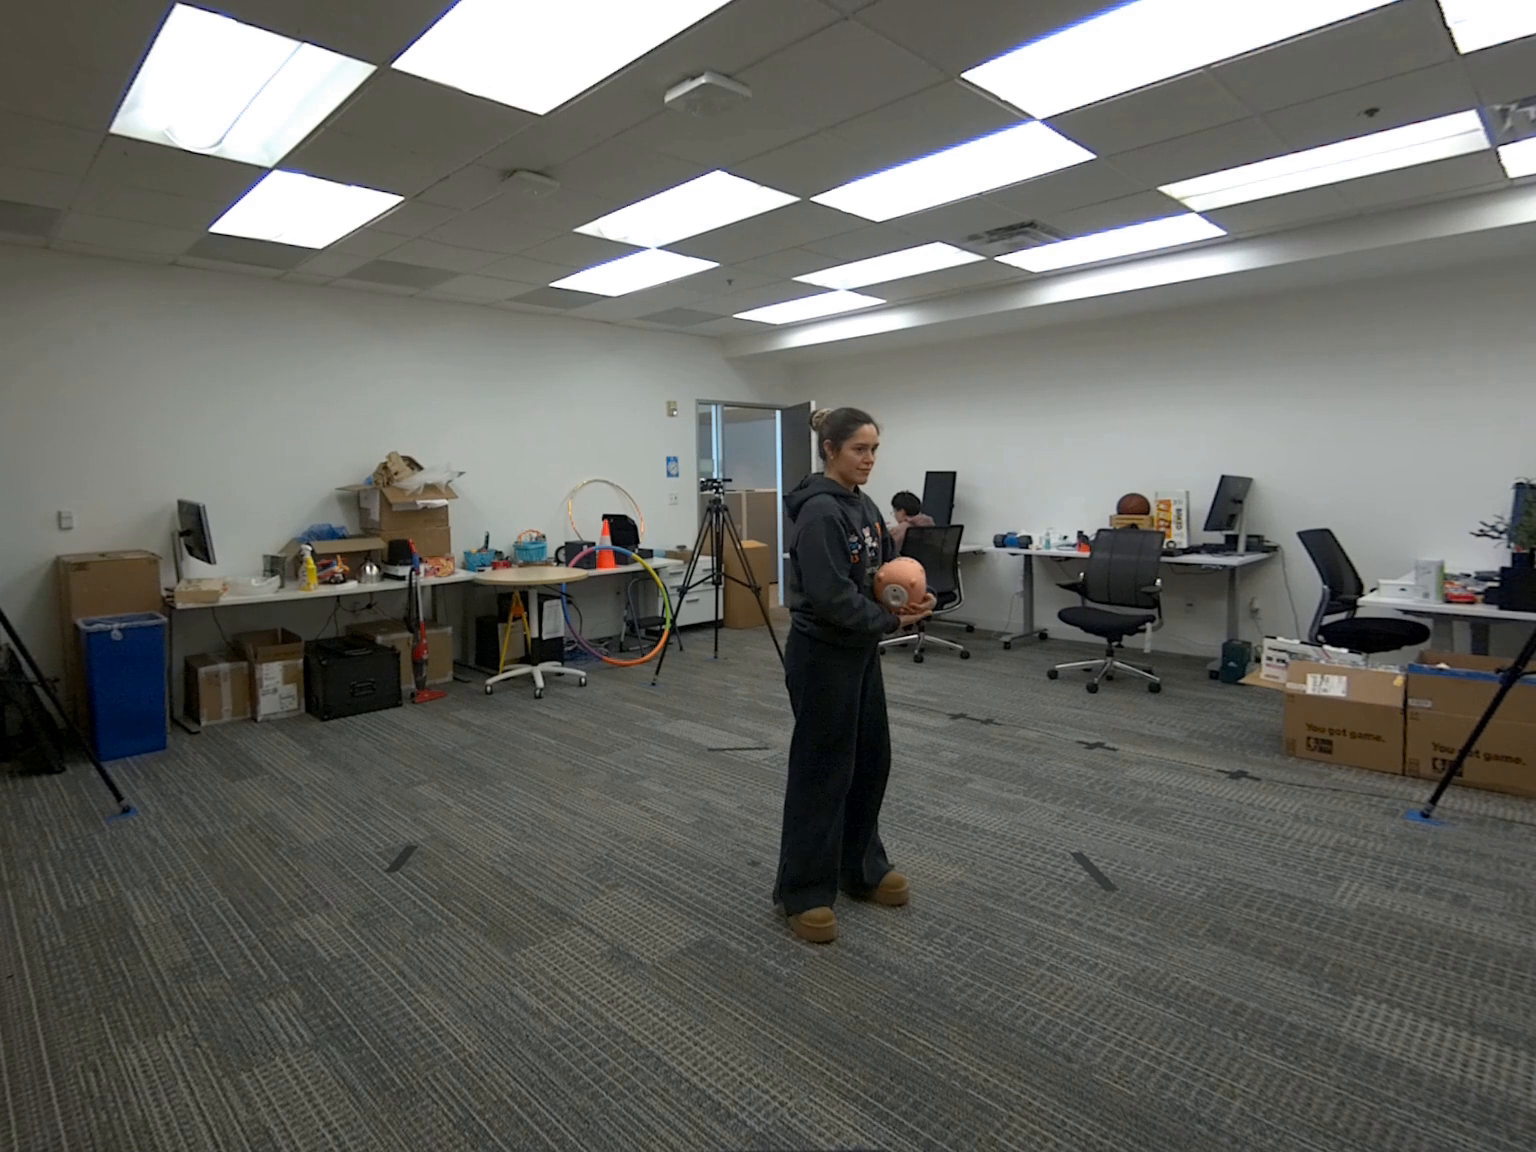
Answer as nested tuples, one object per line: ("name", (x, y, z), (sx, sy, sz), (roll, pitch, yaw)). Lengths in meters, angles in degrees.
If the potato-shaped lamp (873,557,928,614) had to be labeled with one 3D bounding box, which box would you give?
("potato-shaped lamp", (0.408, 0.018, 2.721), (0.168, 0.167, 0.199), (8, 32, 19))
